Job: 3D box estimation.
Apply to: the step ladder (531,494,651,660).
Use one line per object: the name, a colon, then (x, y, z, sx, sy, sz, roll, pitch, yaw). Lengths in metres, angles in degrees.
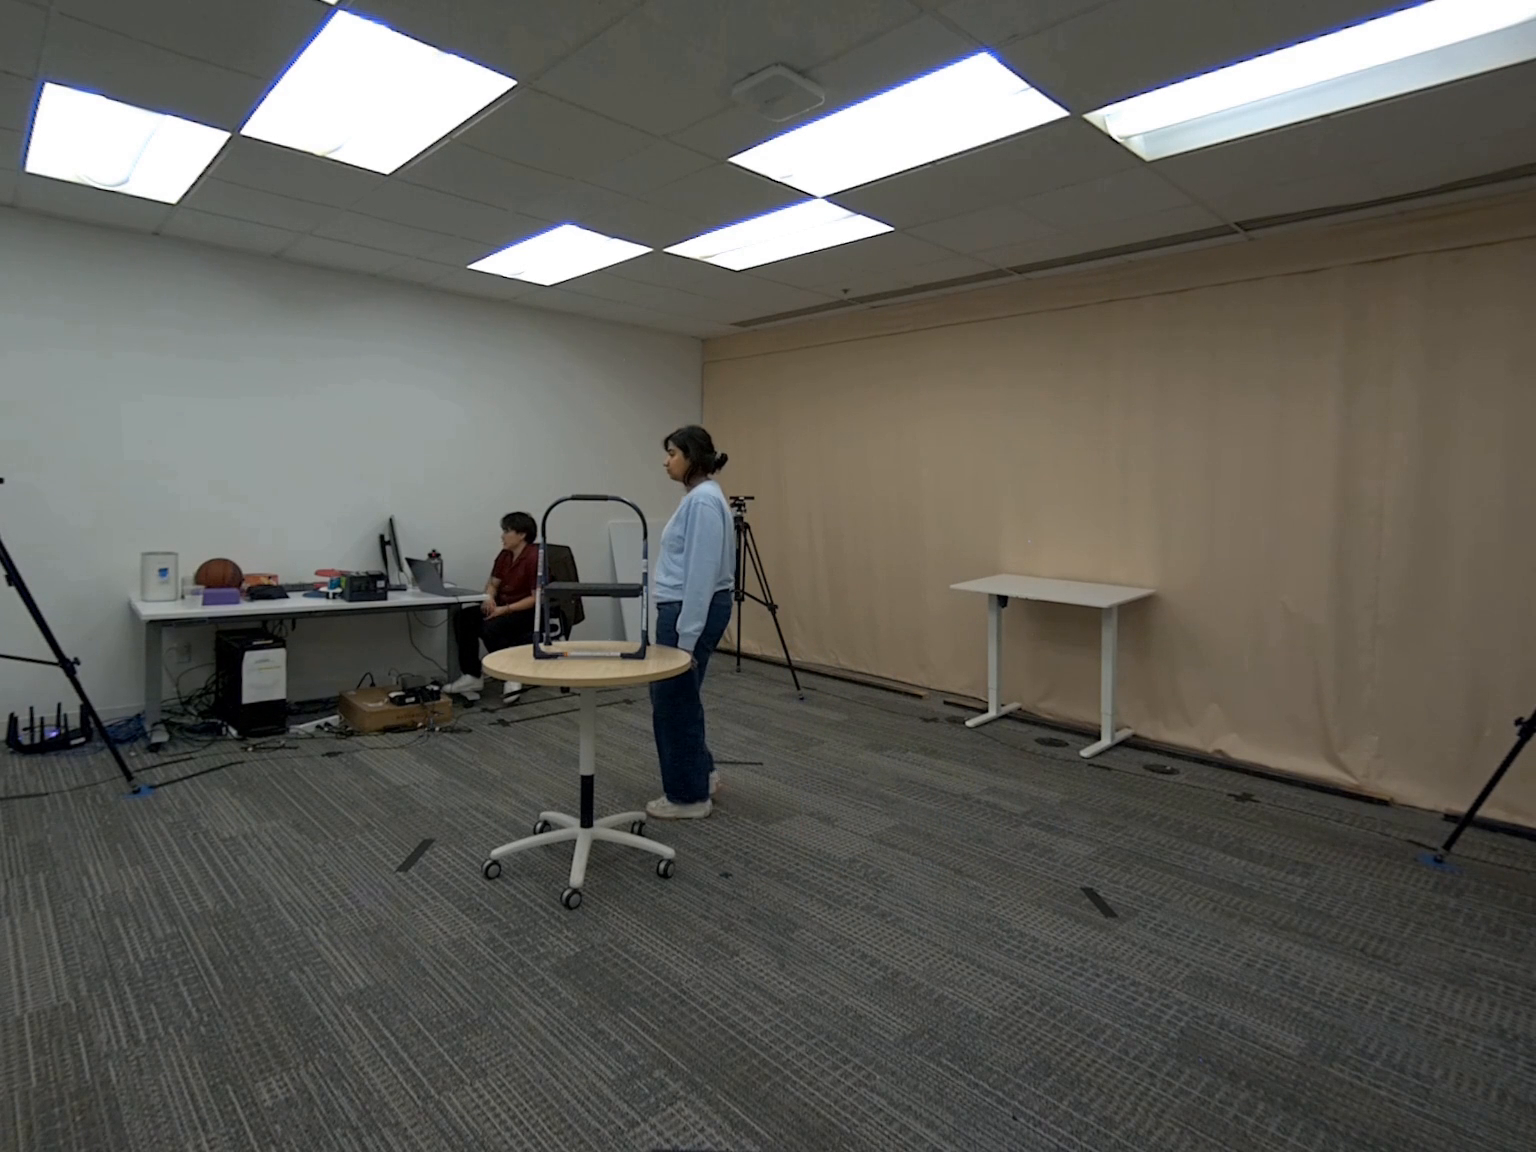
step ladder: (-0.679, -0.006, 3.249, 0.429, 0.605, 0.351, 1, 2, -6)
